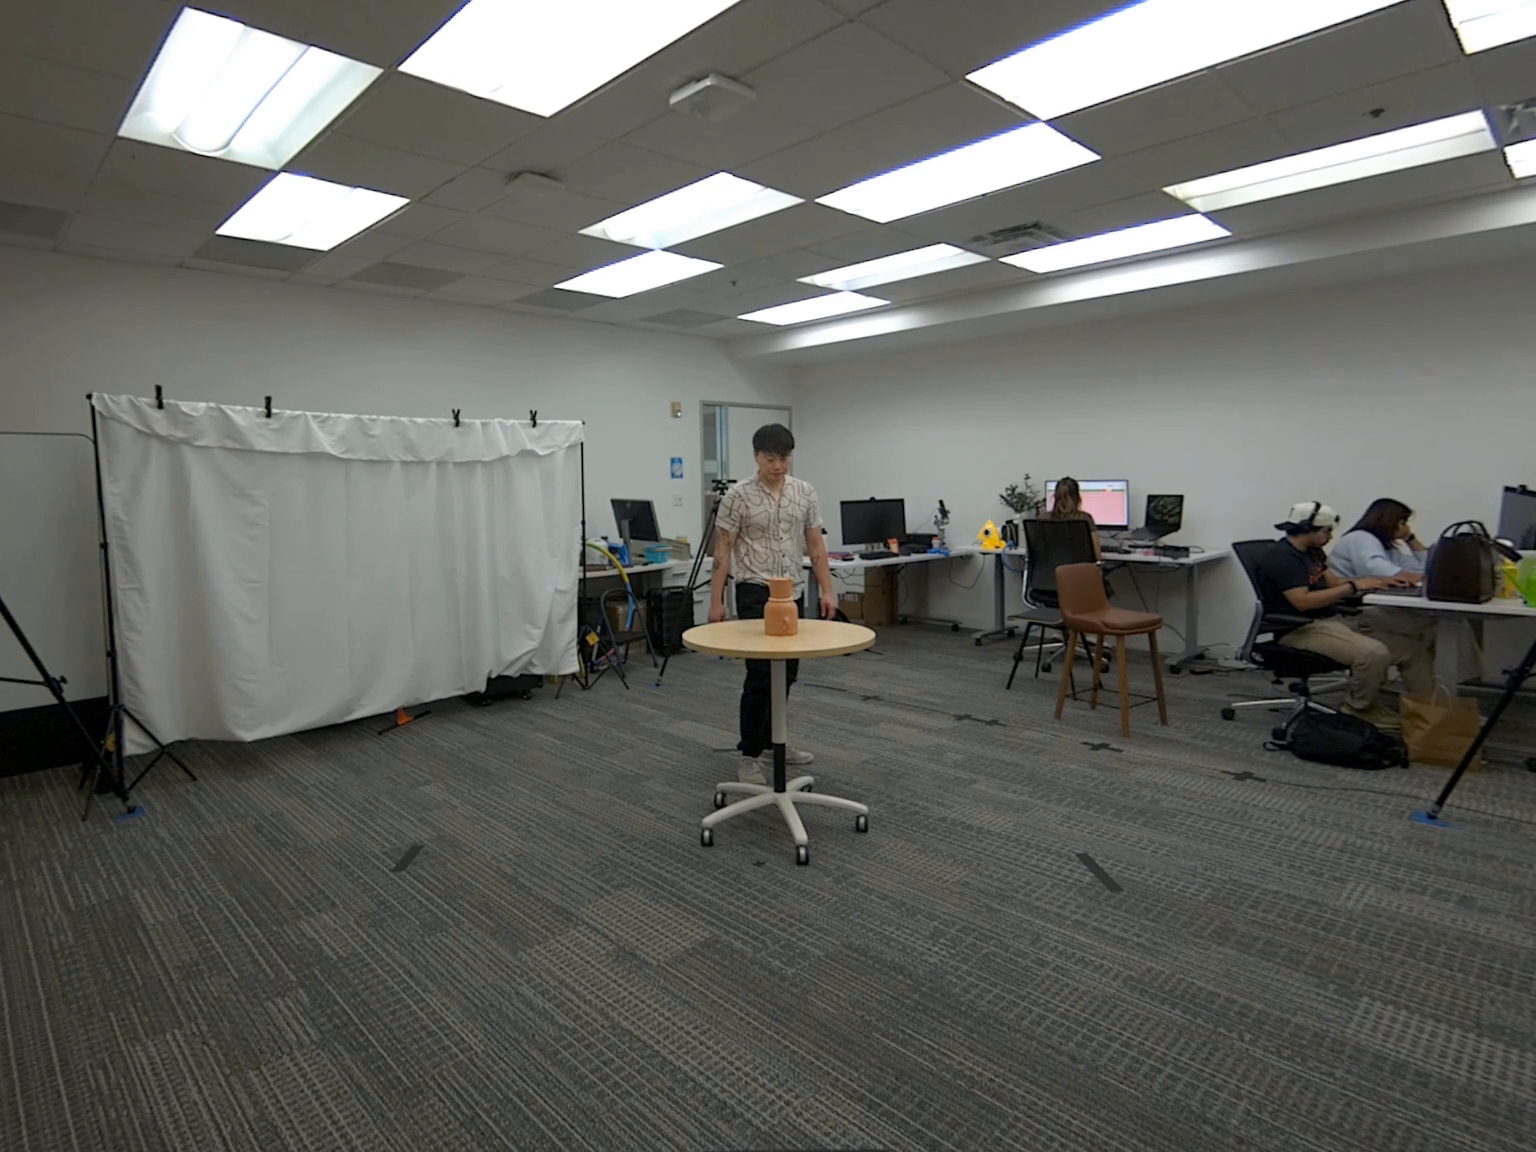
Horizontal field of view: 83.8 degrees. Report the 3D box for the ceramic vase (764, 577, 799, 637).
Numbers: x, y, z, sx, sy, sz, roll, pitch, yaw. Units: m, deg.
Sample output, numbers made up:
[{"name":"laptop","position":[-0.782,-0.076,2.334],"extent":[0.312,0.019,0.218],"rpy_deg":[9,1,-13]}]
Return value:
[{"name":"ceramic vase","position":[0.054,0.122,3.418],"extent":[0.163,0.219,0.131],"rpy_deg":[1,3,37]}]
